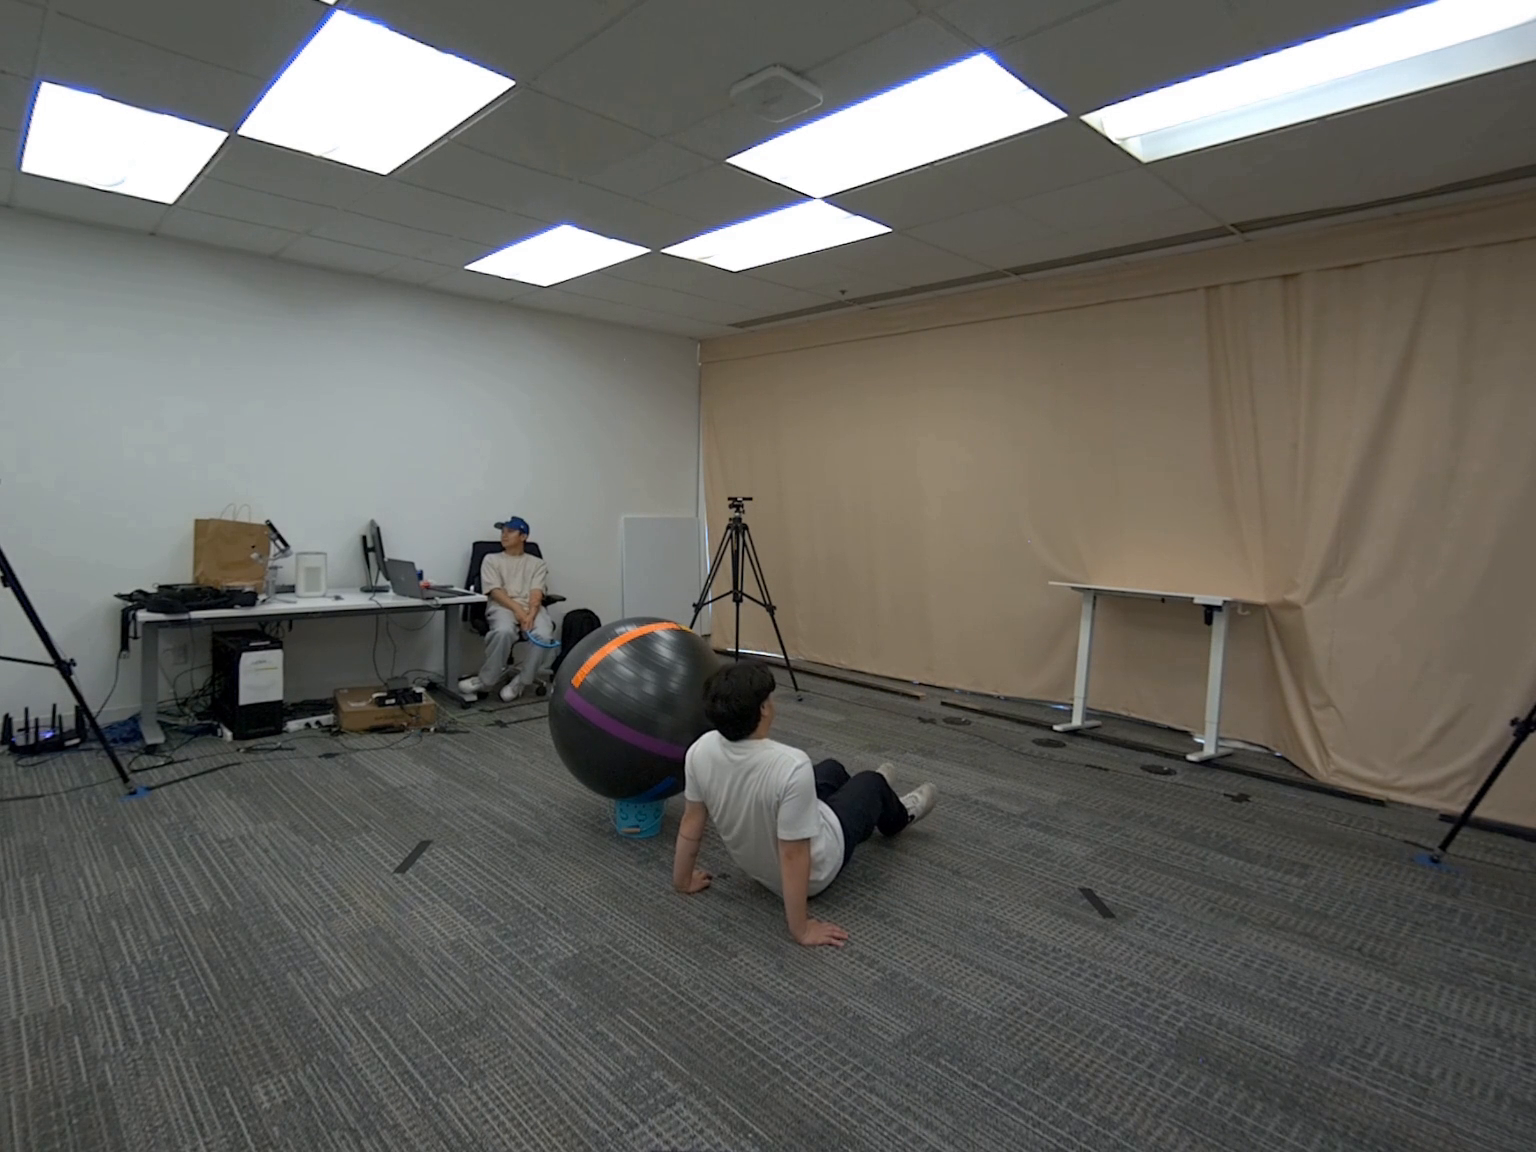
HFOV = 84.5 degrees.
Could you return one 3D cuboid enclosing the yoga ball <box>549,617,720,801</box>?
[{"bbox_3d":[-0.533,0.549,3.513,0.757,0.756,0.761,1,4,-1],"label":"yoga ball"}]
